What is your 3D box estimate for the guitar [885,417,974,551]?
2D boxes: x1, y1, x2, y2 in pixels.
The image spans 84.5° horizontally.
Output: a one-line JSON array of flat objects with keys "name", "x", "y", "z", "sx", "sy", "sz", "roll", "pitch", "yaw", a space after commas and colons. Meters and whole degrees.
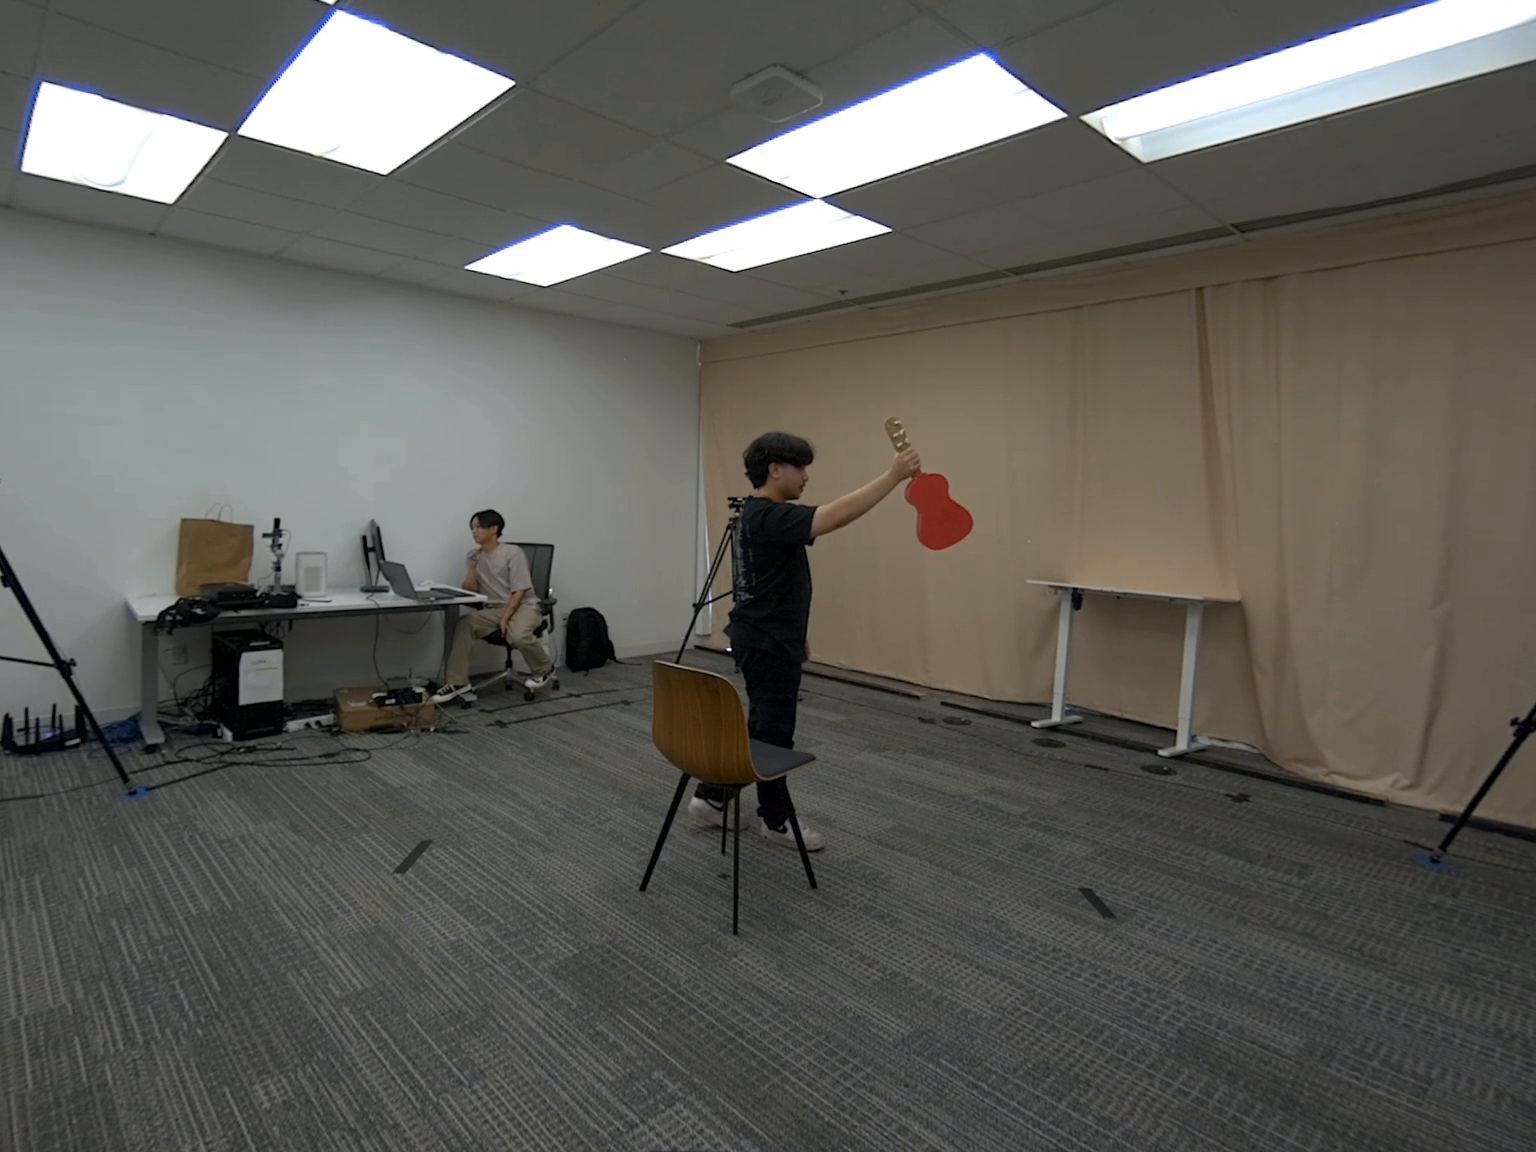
[{"name": "guitar", "x": 0.509, "y": -0.317, "z": 2.990, "sx": 0.193, "sy": 0.495, "sz": 0.071, "roll": -33, "pitch": 4, "yaw": 3}]
